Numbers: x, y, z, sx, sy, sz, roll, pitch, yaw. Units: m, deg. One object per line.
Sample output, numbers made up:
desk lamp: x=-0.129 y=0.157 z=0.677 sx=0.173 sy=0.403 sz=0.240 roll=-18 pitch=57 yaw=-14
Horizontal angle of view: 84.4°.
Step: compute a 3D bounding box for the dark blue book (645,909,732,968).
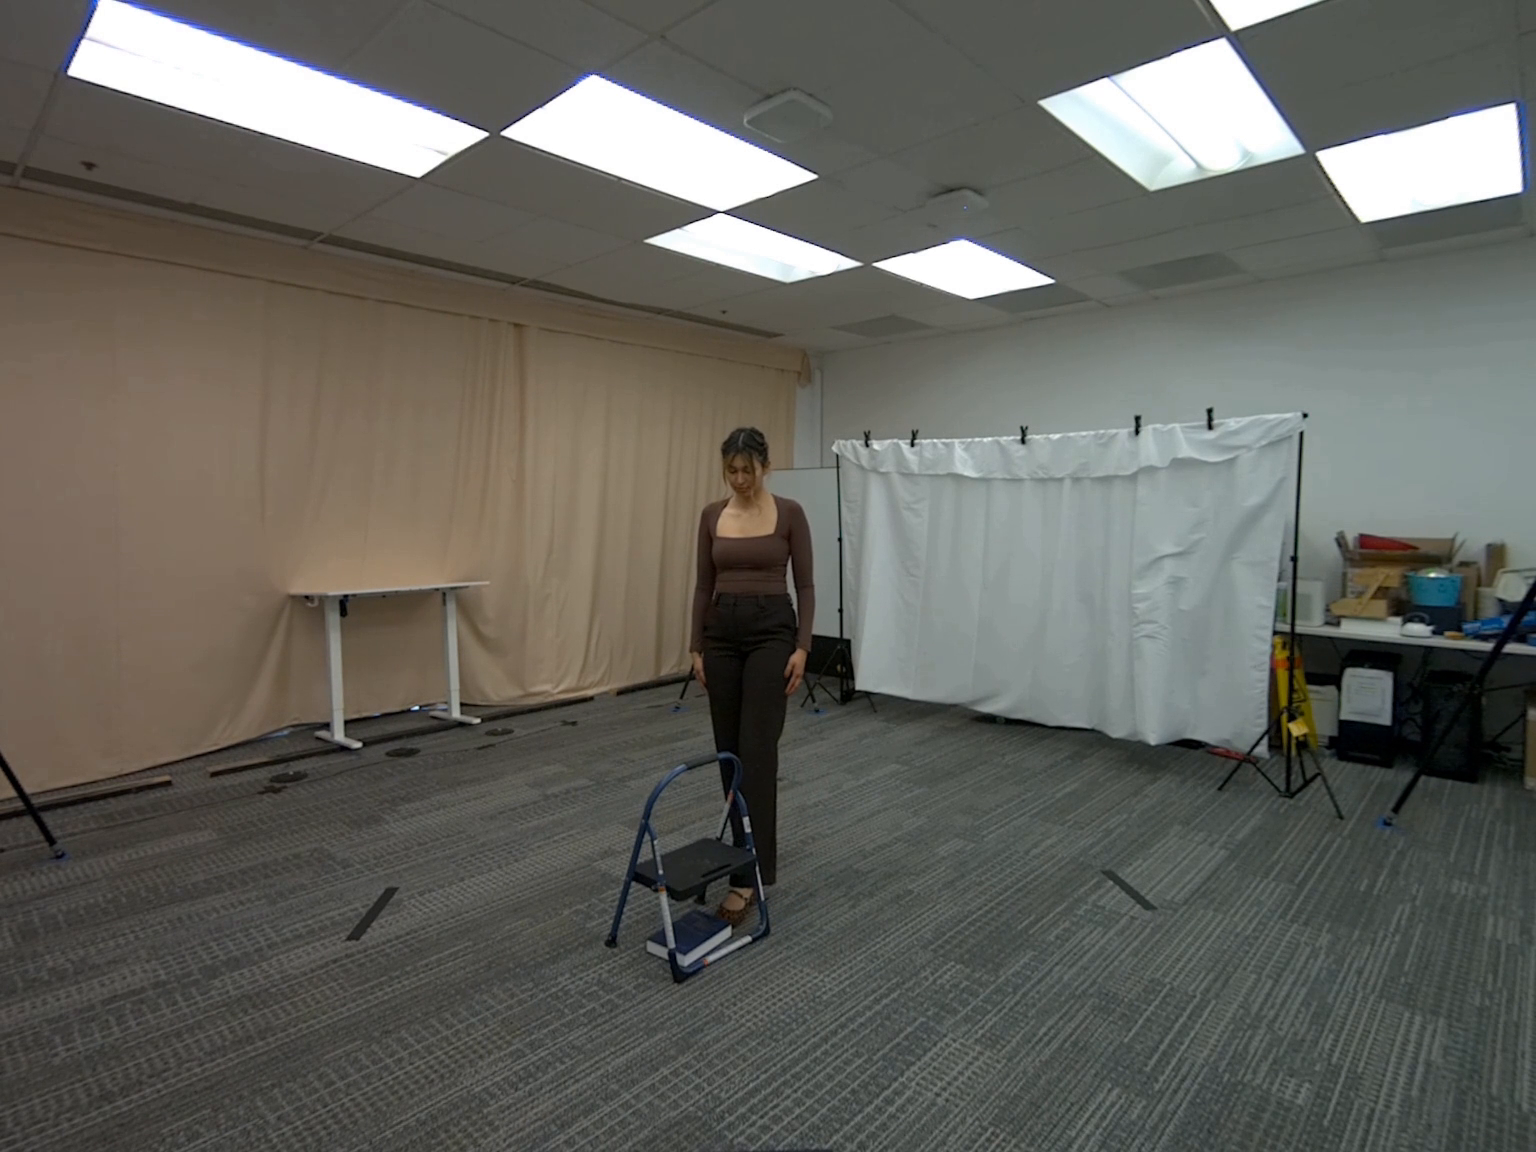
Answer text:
dark blue book: x=-0.243 y=1.141 z=2.678 sx=0.168 sy=0.045 sz=0.238 roll=3 pitch=6 yaw=36
